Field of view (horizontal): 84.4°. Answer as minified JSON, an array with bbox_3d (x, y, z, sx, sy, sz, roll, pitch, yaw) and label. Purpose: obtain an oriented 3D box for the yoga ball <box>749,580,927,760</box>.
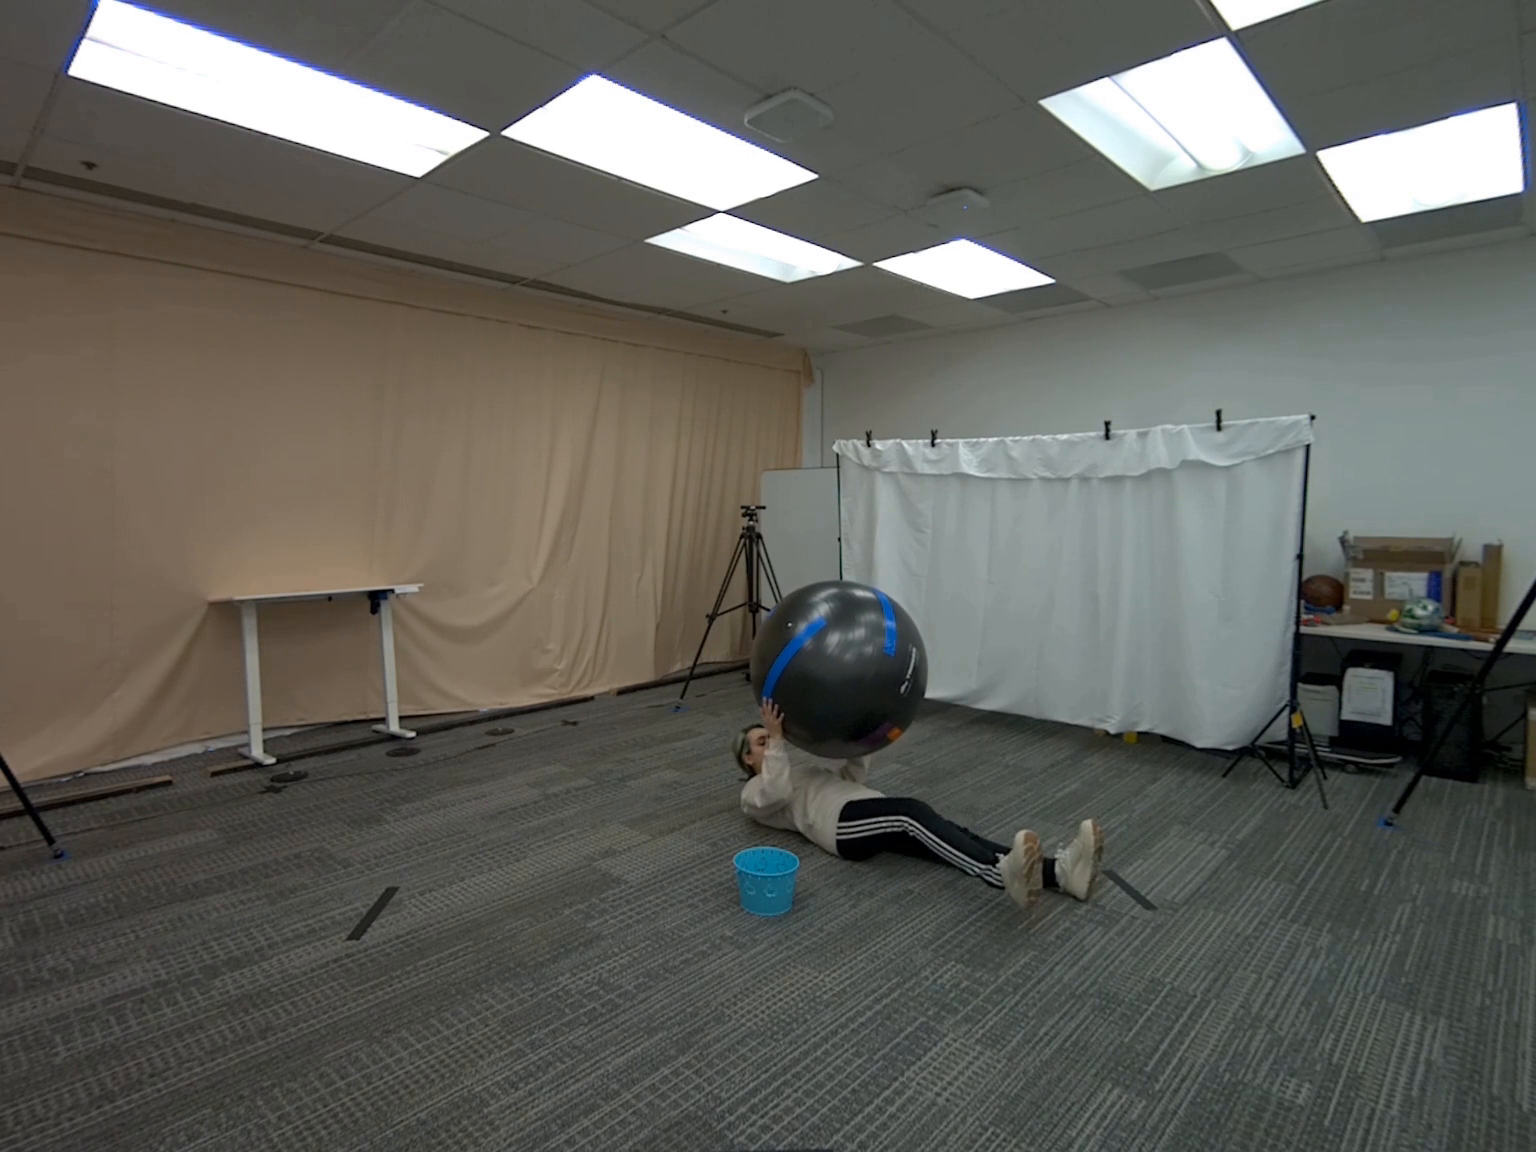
[{"bbox_3d":[0.298,0.396,3.617,0.757,0.756,0.760,0,4,-2],"label":"yoga ball"}]
